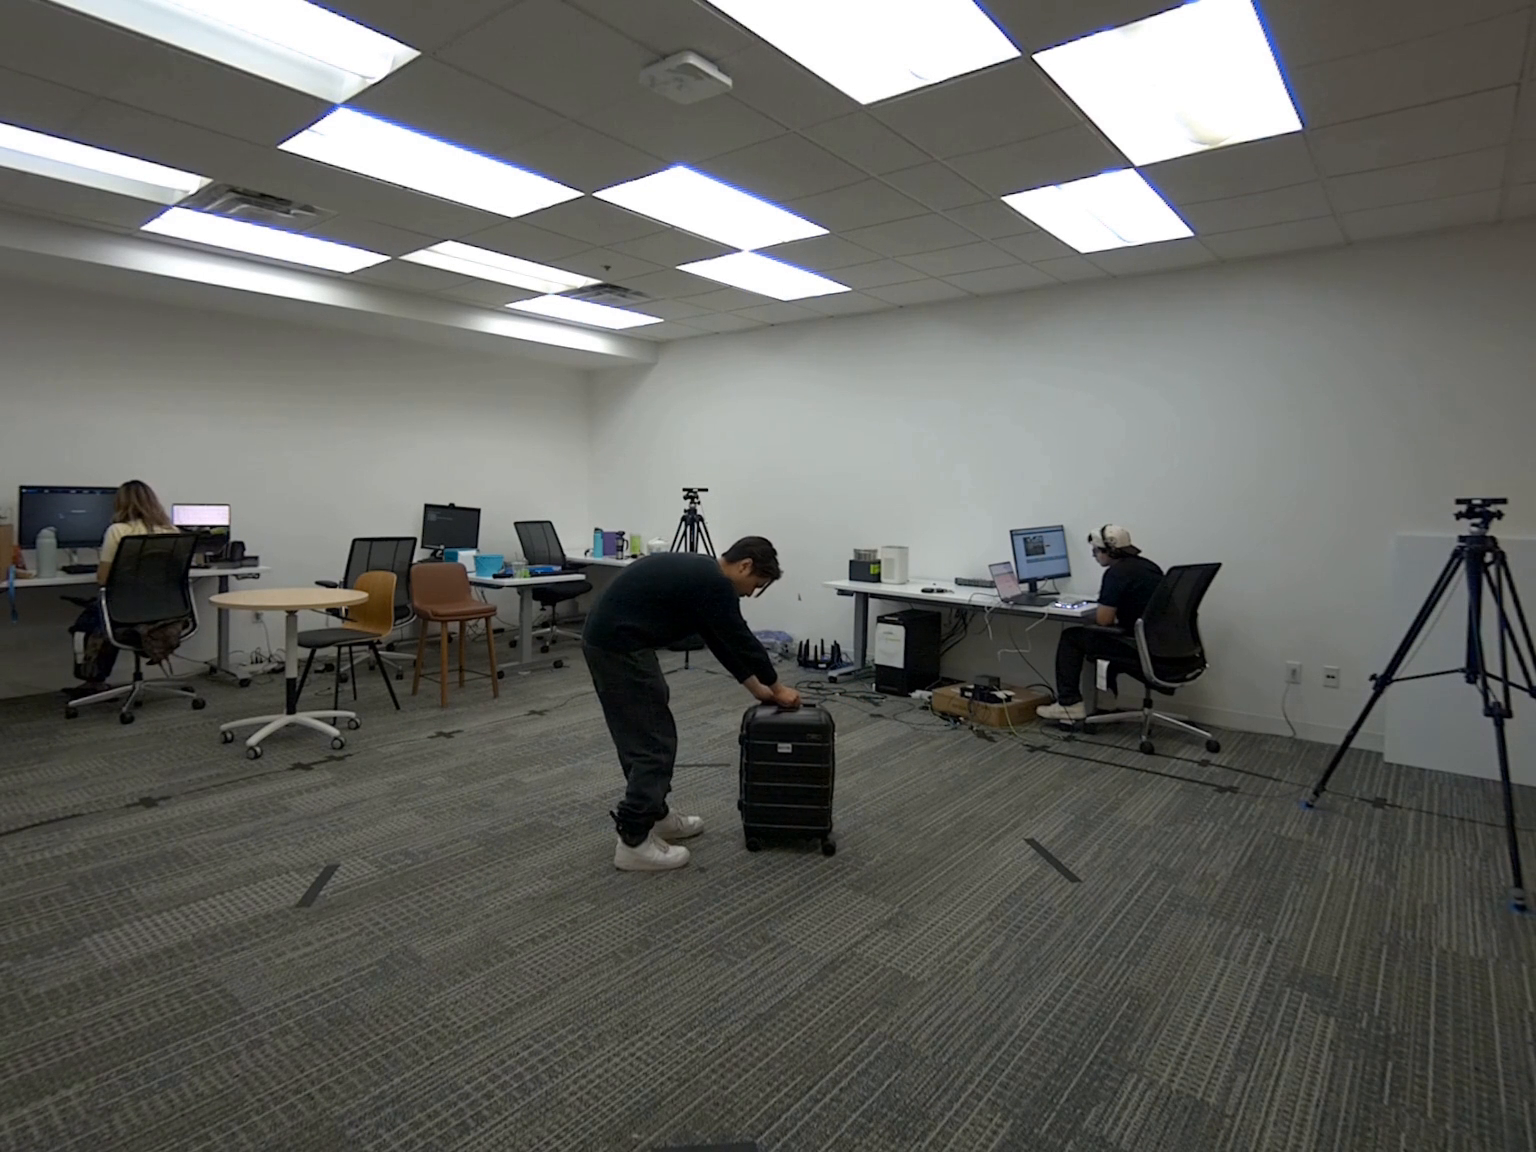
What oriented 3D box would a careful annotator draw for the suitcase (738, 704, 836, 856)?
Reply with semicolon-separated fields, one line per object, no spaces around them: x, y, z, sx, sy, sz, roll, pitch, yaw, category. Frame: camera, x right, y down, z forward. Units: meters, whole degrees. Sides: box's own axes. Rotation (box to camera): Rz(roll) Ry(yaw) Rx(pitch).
0.071;0.776;3.373;0.377;0.546;0.249;1;5;2;suitcase
